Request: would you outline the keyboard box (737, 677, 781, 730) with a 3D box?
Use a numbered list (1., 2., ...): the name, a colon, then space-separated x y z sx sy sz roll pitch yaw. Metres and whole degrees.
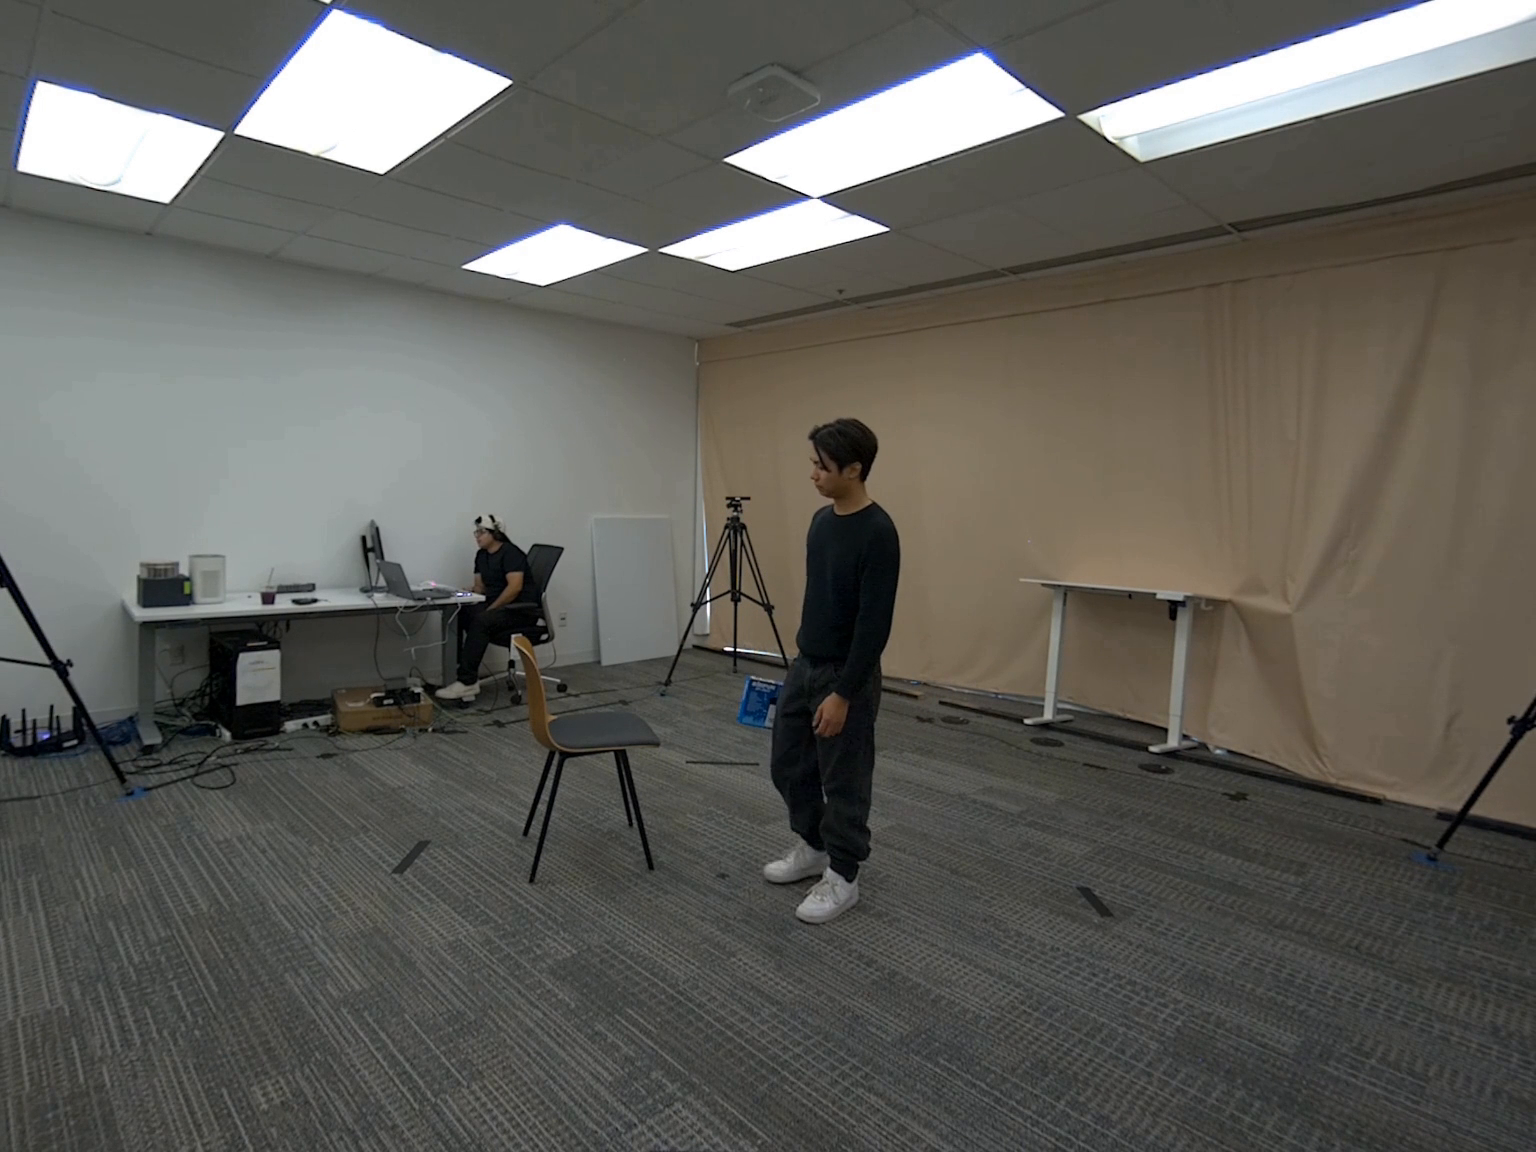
1. keyboard box: 0.121 0.509 3.152 0.432 0.176 0.060 12 1 -10
